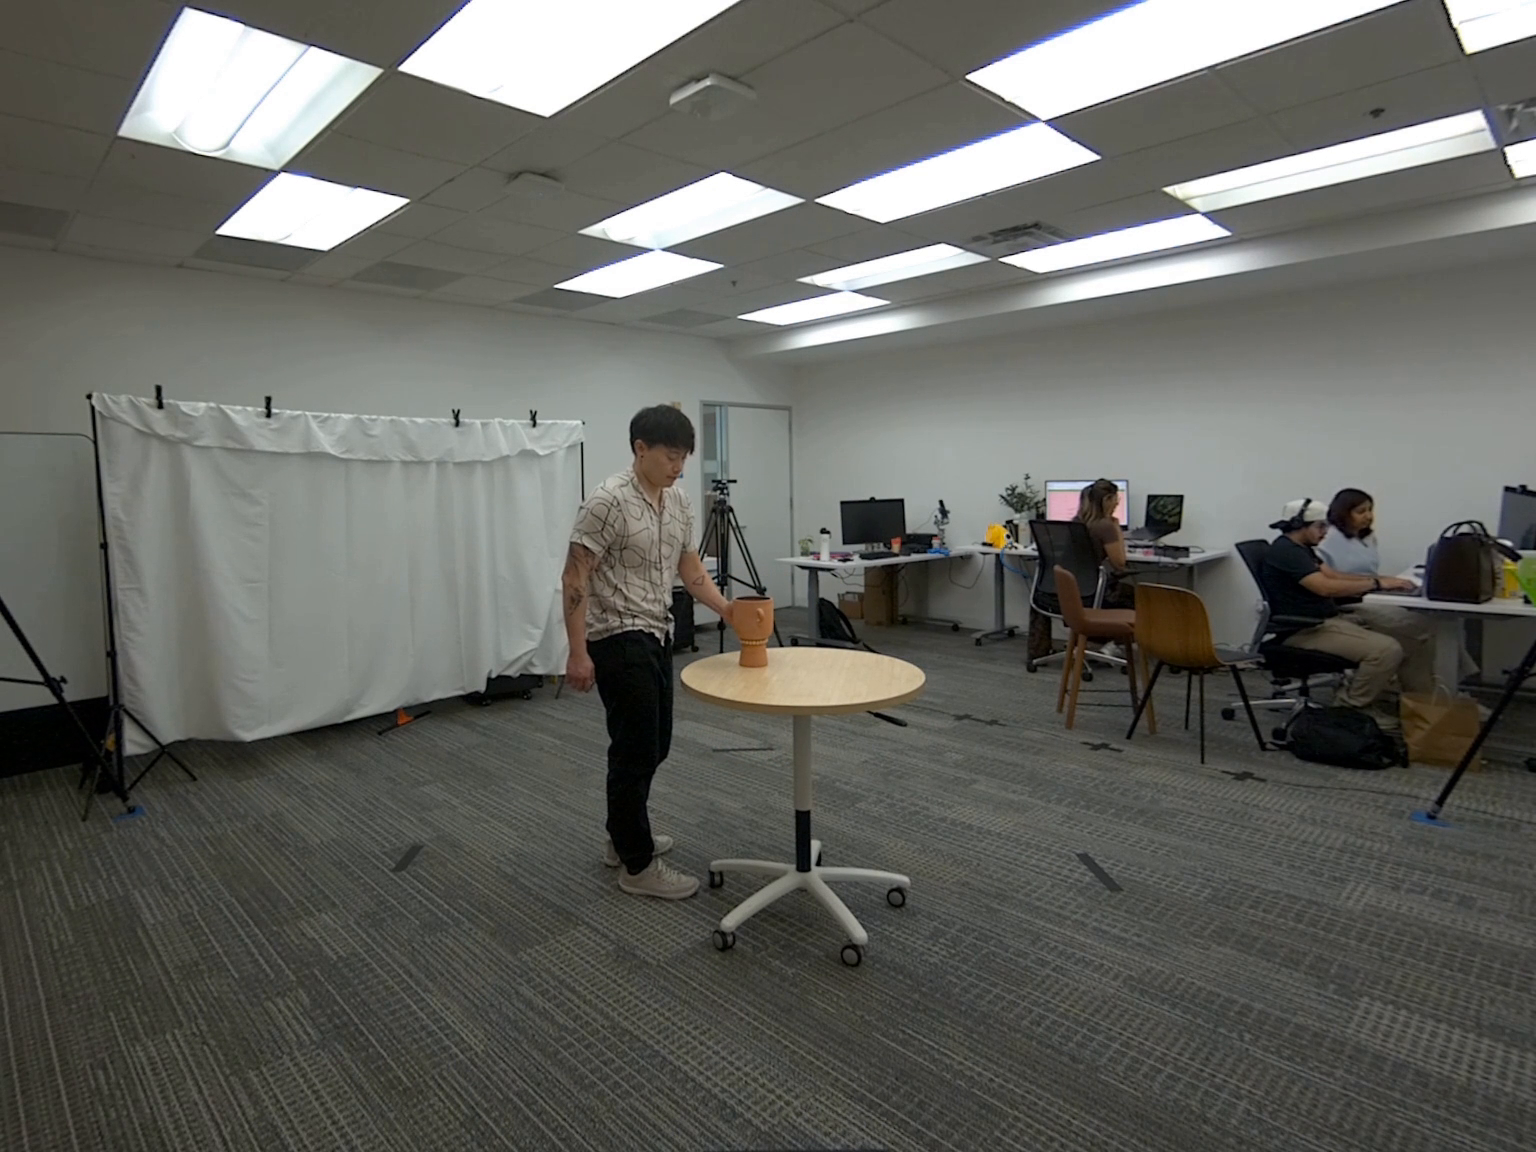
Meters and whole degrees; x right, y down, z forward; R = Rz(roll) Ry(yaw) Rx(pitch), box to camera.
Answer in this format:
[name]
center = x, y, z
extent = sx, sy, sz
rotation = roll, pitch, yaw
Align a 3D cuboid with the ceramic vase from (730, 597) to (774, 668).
[ceramic vase]
center = -0.055, 0.187, 2.812
extent = 0.137, 0.218, 0.157
rotation = 1, 7, 20
